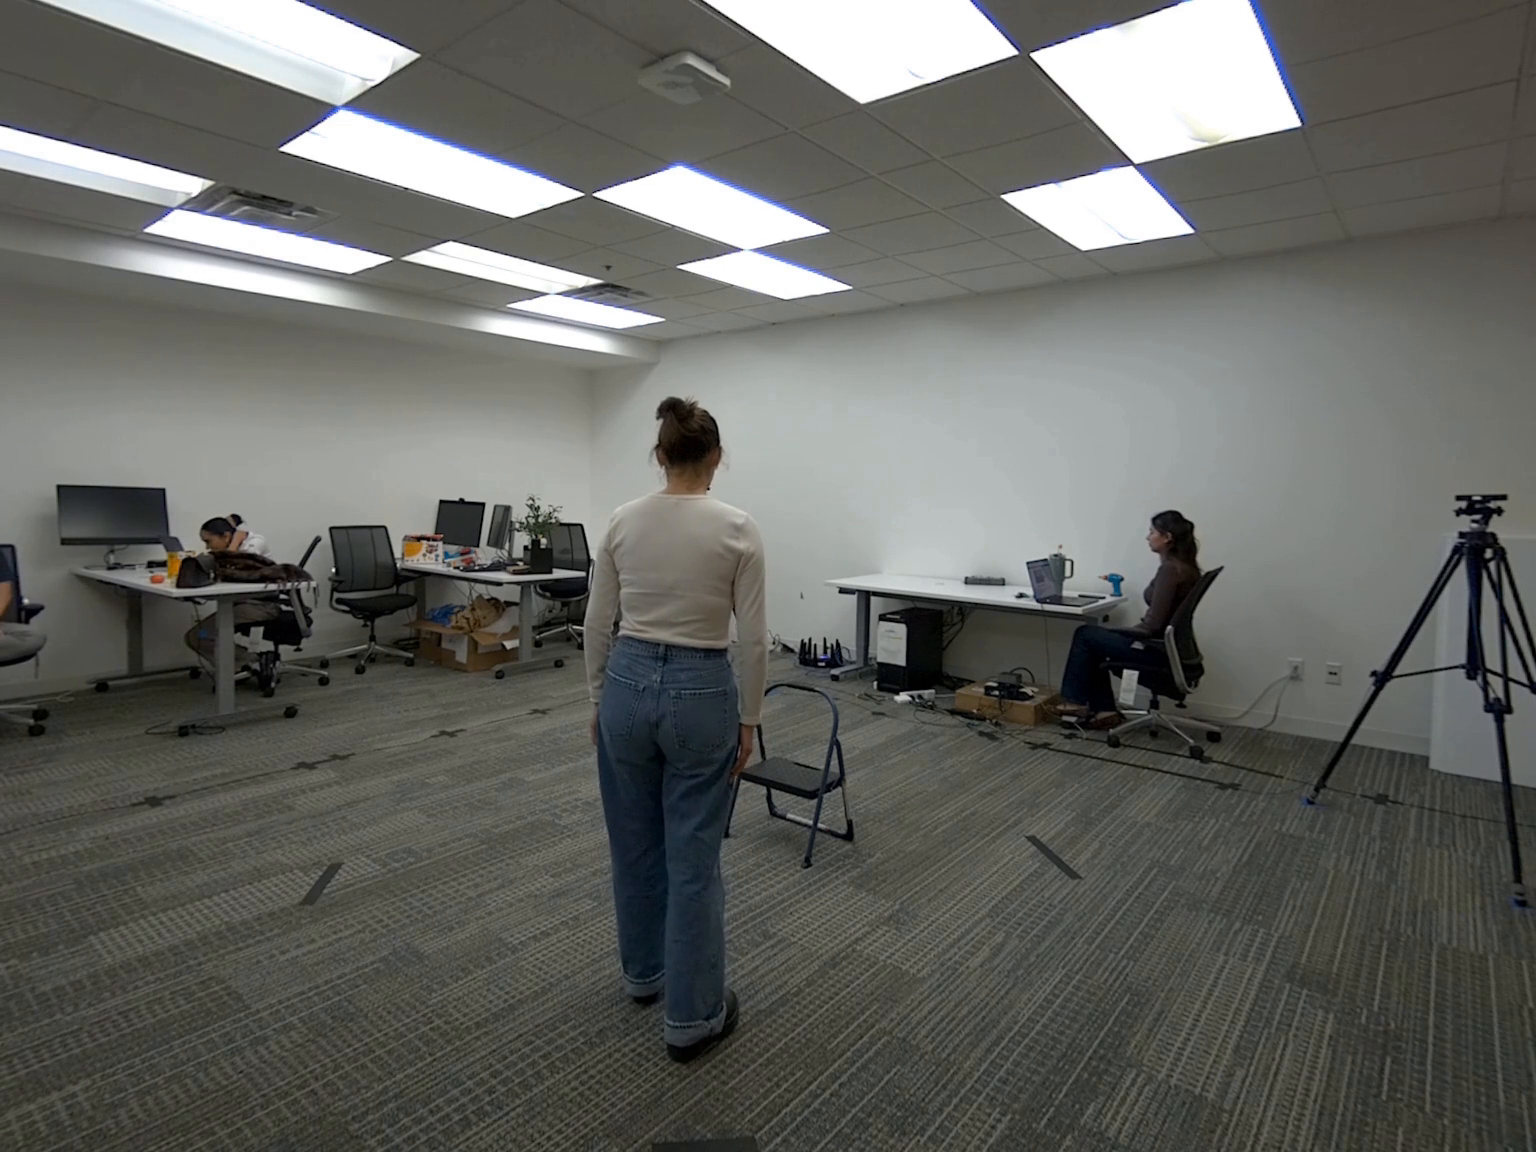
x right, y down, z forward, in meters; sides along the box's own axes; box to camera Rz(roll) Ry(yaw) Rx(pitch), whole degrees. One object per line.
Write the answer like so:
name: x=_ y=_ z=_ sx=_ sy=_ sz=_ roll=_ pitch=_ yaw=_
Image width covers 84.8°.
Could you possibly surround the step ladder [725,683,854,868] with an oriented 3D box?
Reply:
step ladder: x=0.078 y=0.740 z=3.372 sx=0.445 sy=0.604 sz=0.339 roll=4 pitch=5 yaw=38
